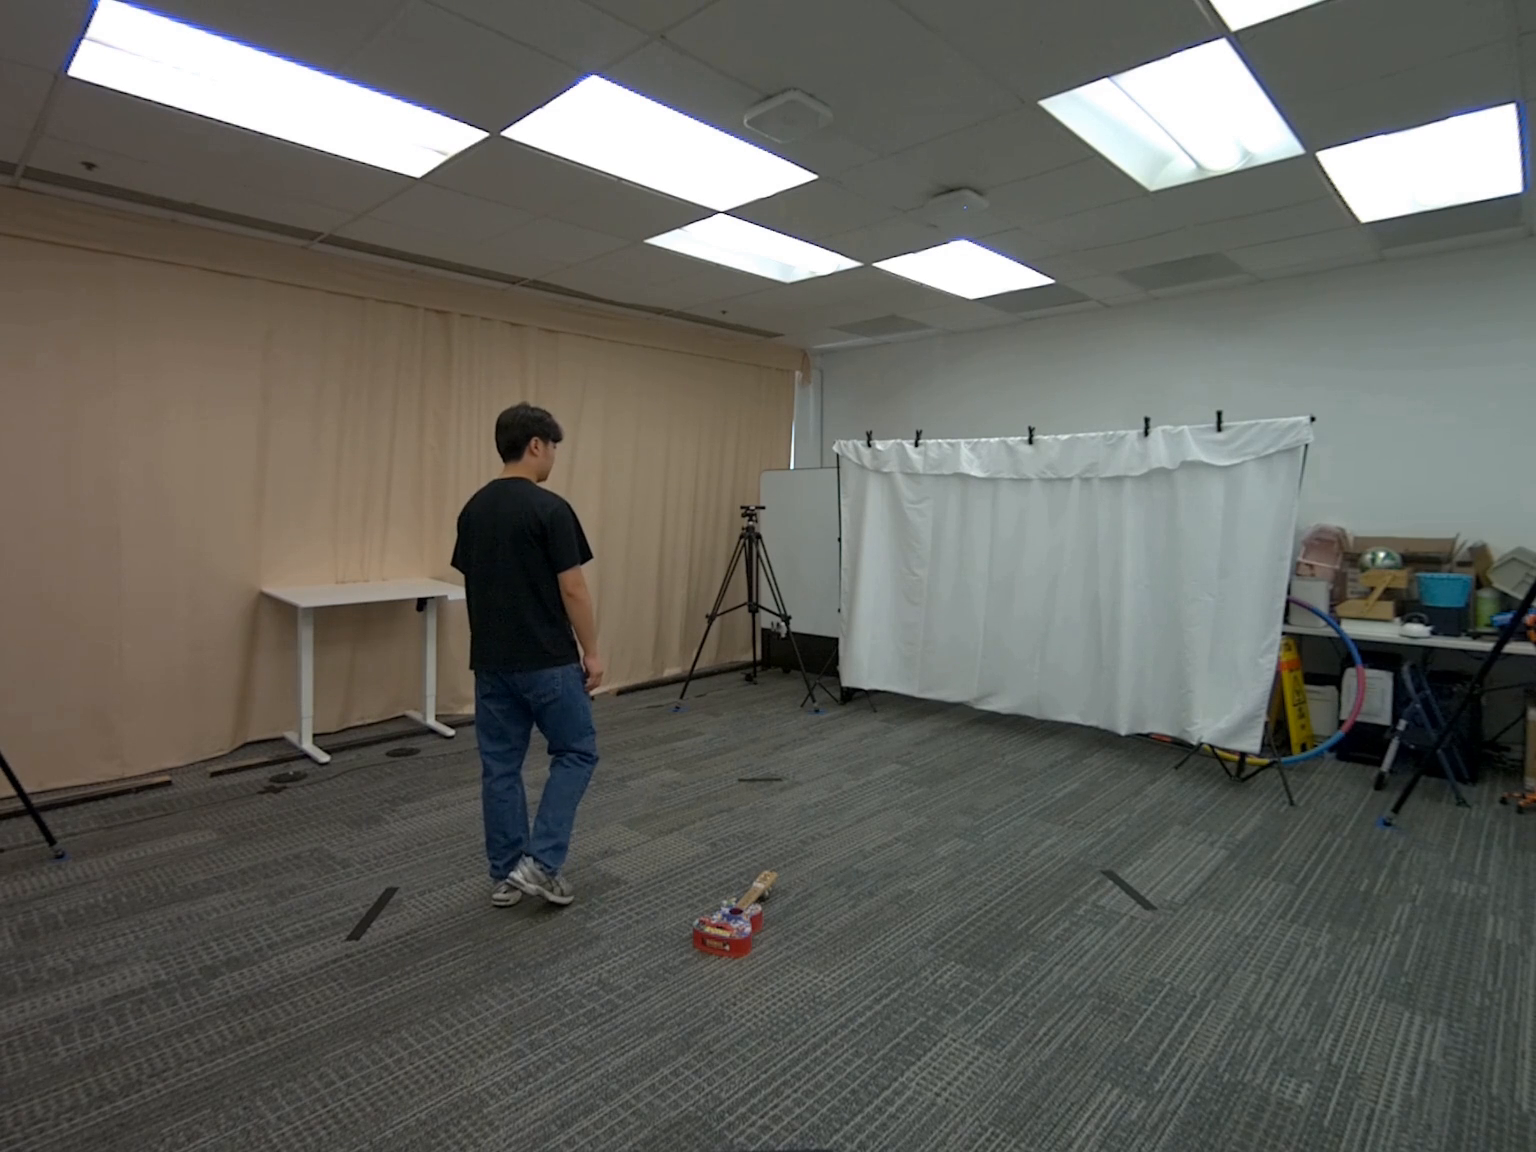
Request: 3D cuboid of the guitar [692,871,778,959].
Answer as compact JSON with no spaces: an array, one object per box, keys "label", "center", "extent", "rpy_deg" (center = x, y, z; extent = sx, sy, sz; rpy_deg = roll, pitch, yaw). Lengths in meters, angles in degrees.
[{"label":"guitar","center":[-0.052,1.125,2.820],"extent":[0.199,0.070,0.484],"rpy_deg":[3,6,32]}]
